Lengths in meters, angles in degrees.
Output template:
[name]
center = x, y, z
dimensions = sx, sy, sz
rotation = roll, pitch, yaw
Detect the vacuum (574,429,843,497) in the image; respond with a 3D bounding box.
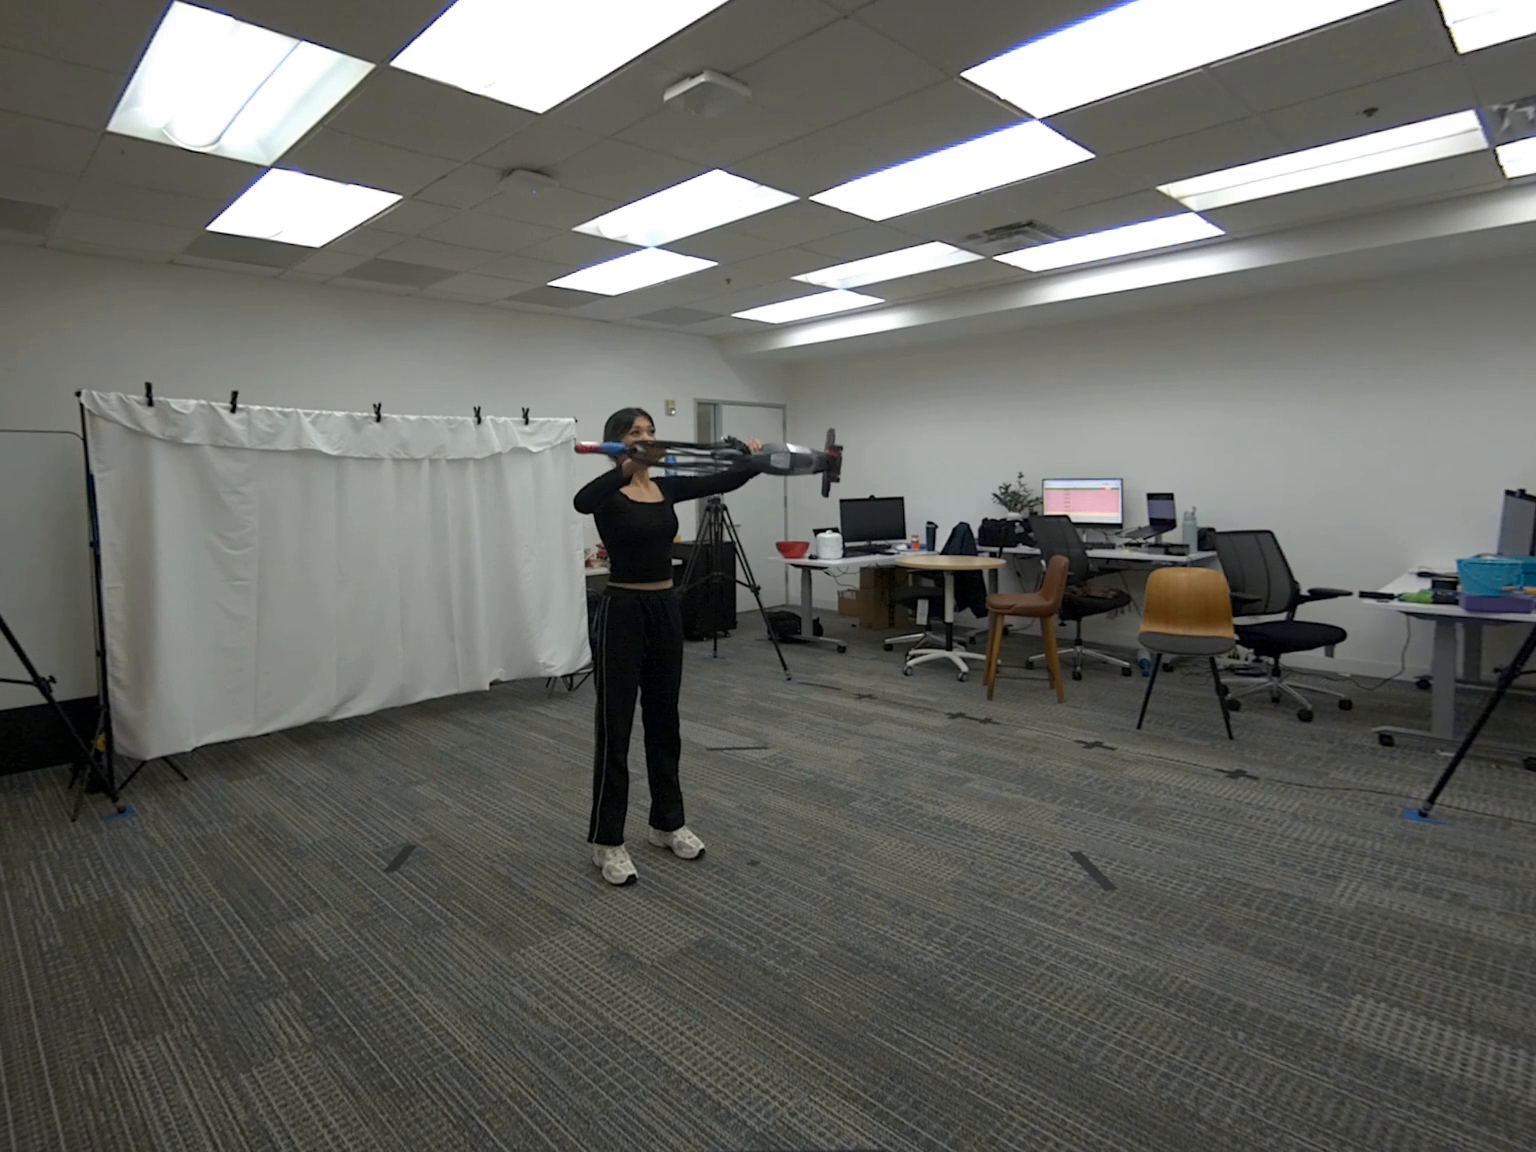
[vacuum]
center = -0.162, -0.377, 2.752
dimensions = 1.021, 0.250, 0.149
rotation = -4, 14, -39
